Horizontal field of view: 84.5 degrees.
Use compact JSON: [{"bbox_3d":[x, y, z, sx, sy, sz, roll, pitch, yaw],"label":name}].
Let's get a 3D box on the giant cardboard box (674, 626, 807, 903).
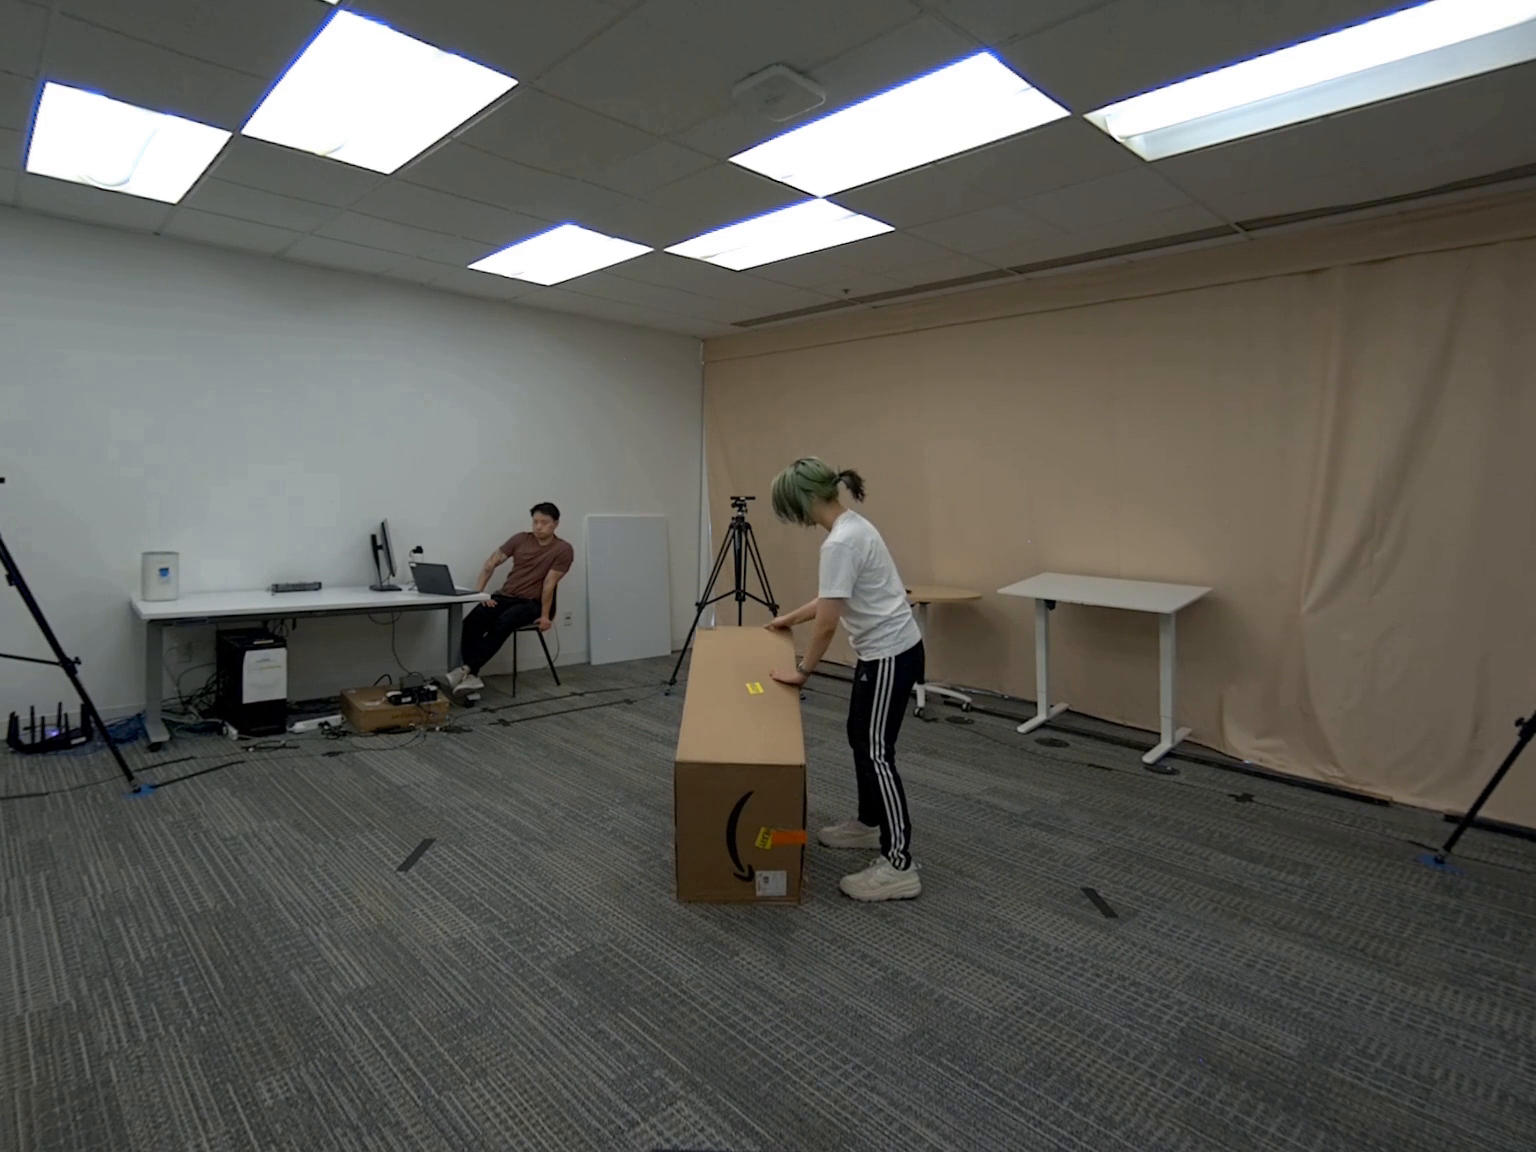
[{"bbox_3d":[-0.110,0.677,3.265,0.426,0.569,1.040,1,21,-1],"label":"giant cardboard box"}]
